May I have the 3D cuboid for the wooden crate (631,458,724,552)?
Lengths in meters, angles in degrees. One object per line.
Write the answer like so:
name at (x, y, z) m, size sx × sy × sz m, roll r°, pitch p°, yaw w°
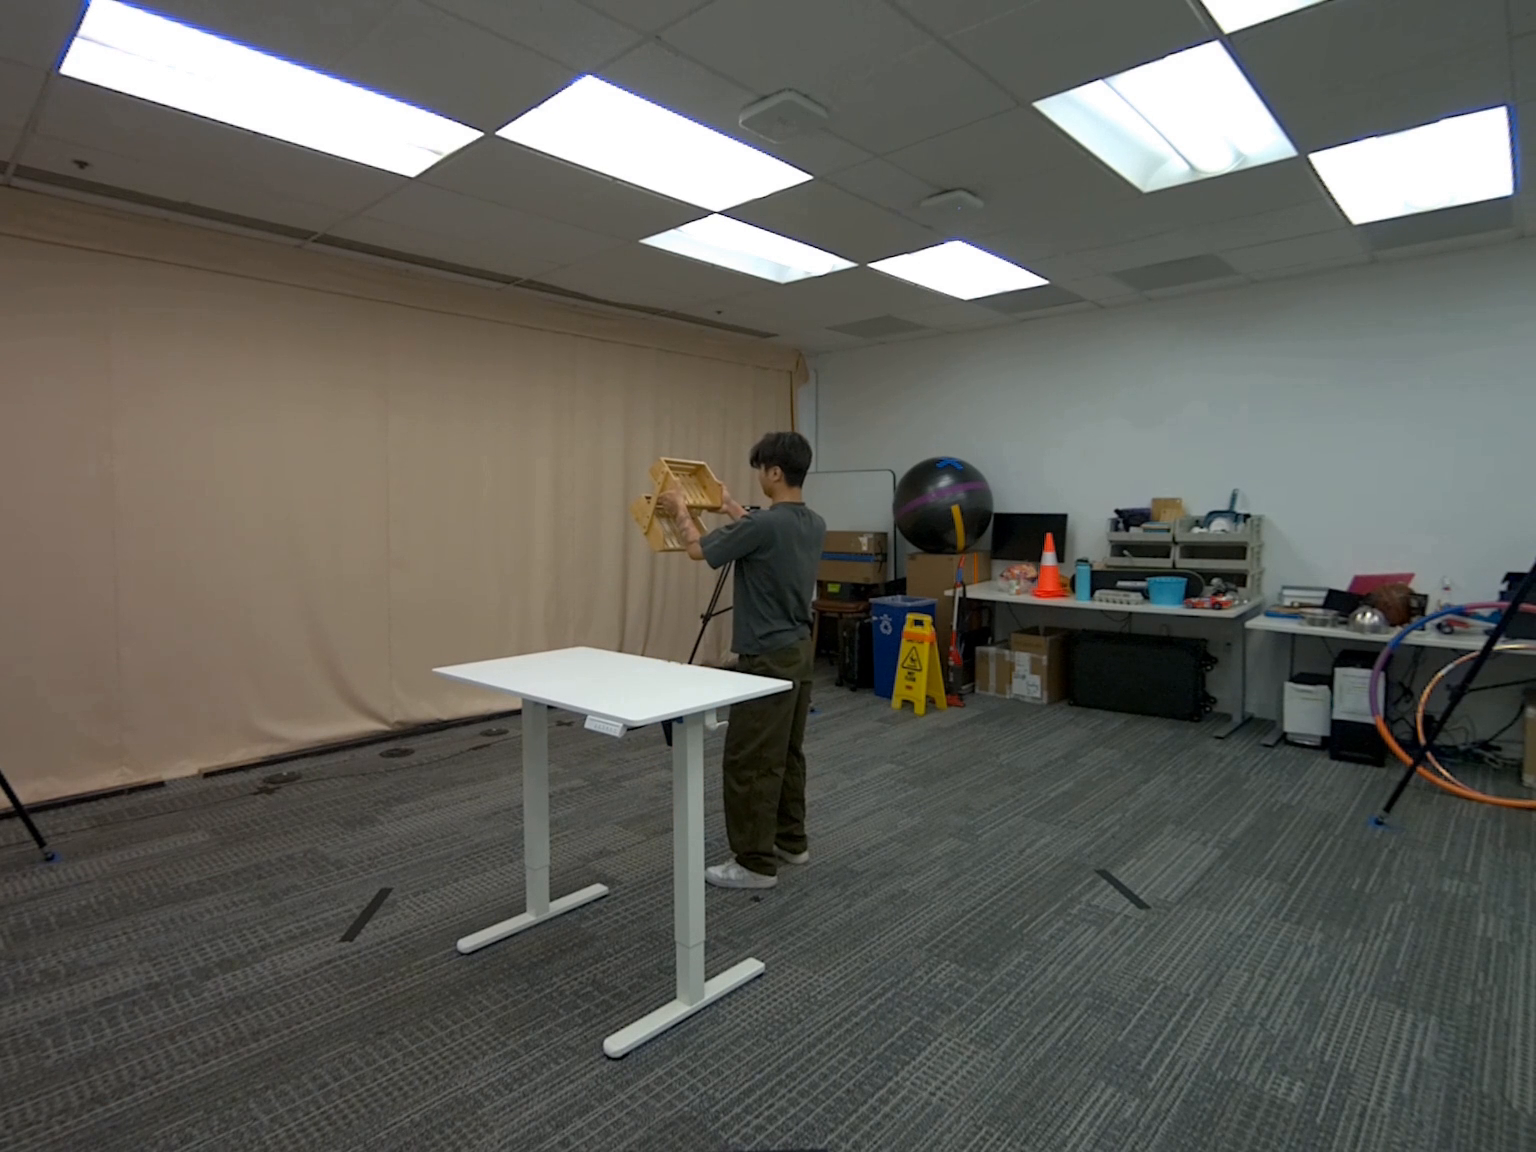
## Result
wooden crate at (-0.352, -0.285, 3.496) m, size 0.276 × 0.308 × 0.315 m, roll -42°, pitch -21°, yaw 27°
